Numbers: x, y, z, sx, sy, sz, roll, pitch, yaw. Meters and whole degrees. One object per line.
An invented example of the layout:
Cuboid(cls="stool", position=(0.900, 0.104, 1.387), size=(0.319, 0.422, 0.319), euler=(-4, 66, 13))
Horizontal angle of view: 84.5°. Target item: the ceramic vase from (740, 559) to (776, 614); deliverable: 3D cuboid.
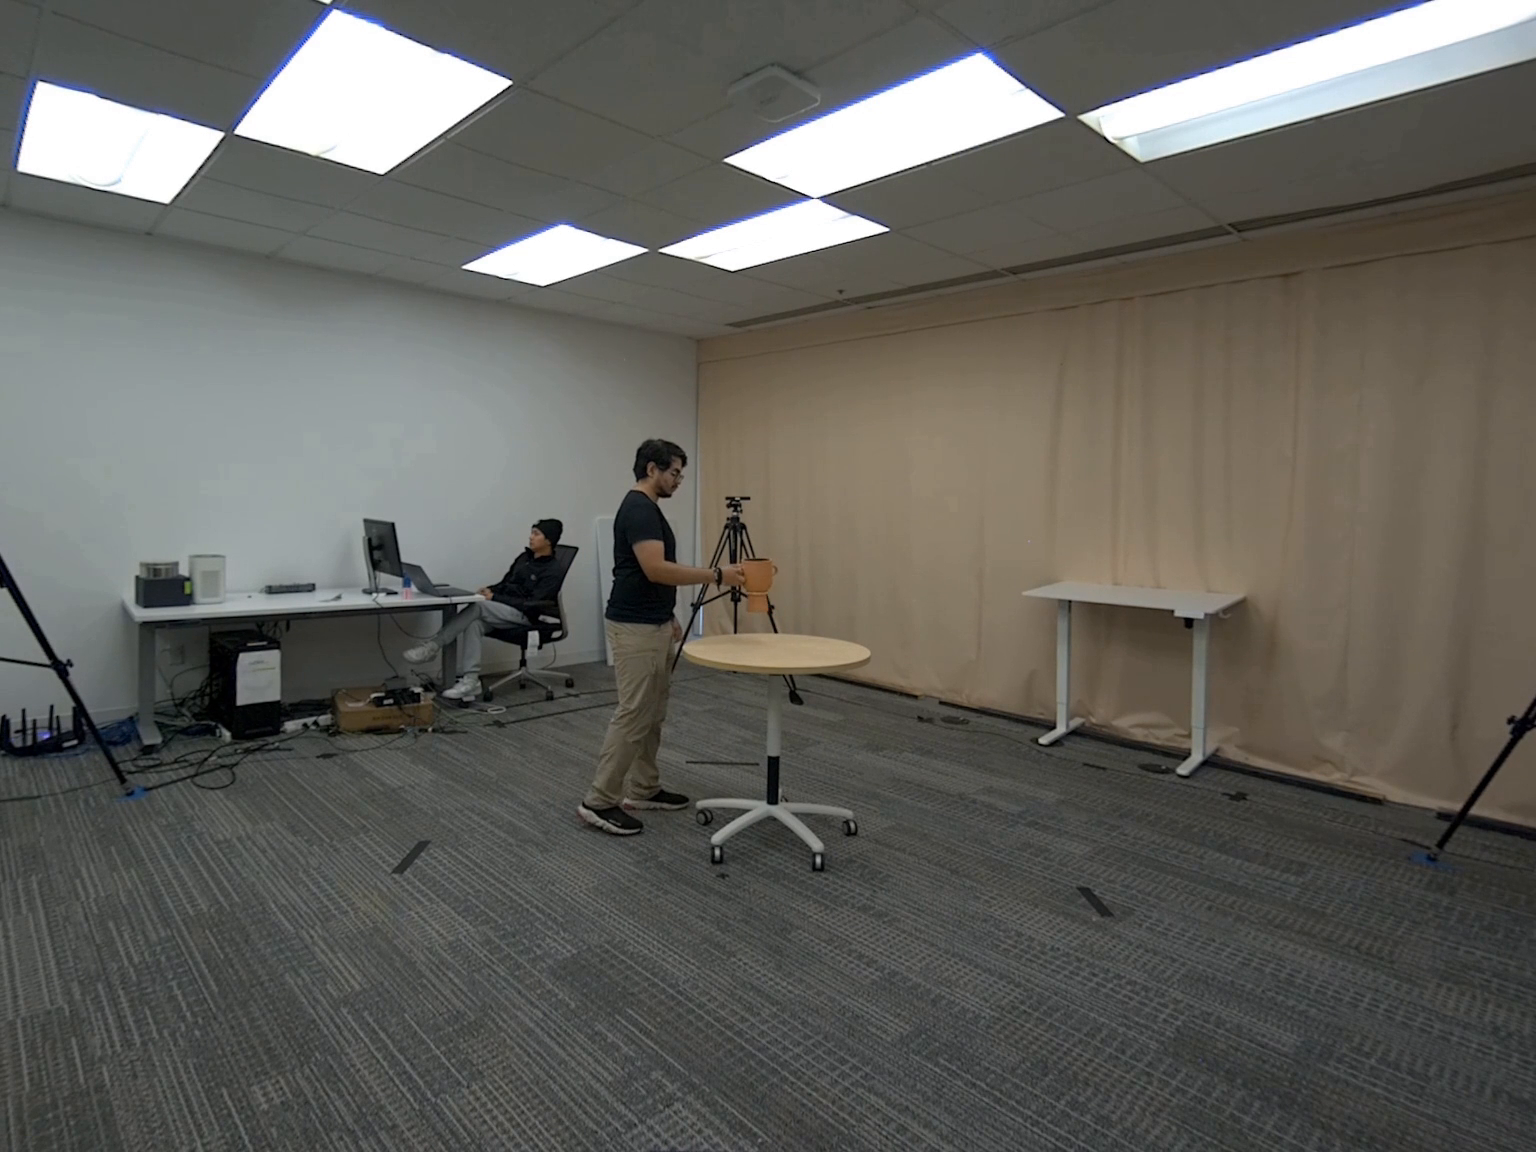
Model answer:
Cuboid(cls="ceramic vase", position=(-0.061, 0.039, 3.586), size=(0.161, 0.219, 0.133), euler=(2, 6, 15))
